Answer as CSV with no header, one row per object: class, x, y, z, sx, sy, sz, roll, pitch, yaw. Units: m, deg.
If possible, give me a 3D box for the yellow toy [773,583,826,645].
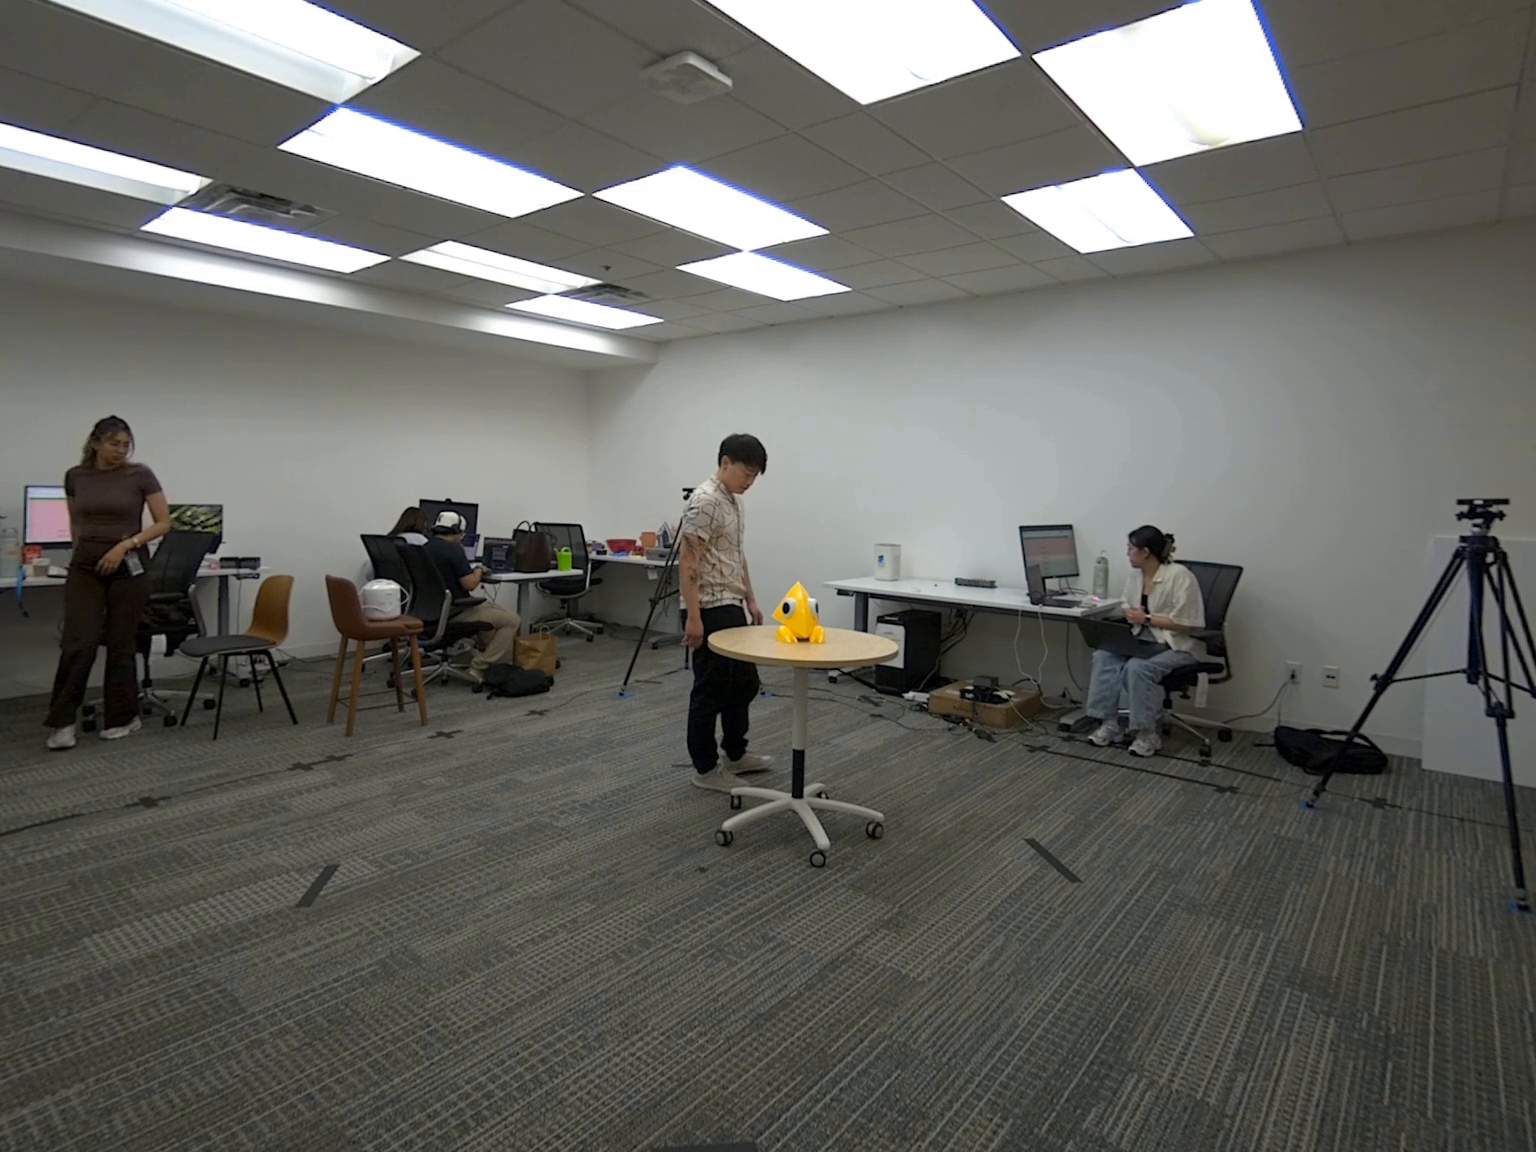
yellow toy,0.130,0.142,3.484,0.203,0.230,0.196,1,4,-10
